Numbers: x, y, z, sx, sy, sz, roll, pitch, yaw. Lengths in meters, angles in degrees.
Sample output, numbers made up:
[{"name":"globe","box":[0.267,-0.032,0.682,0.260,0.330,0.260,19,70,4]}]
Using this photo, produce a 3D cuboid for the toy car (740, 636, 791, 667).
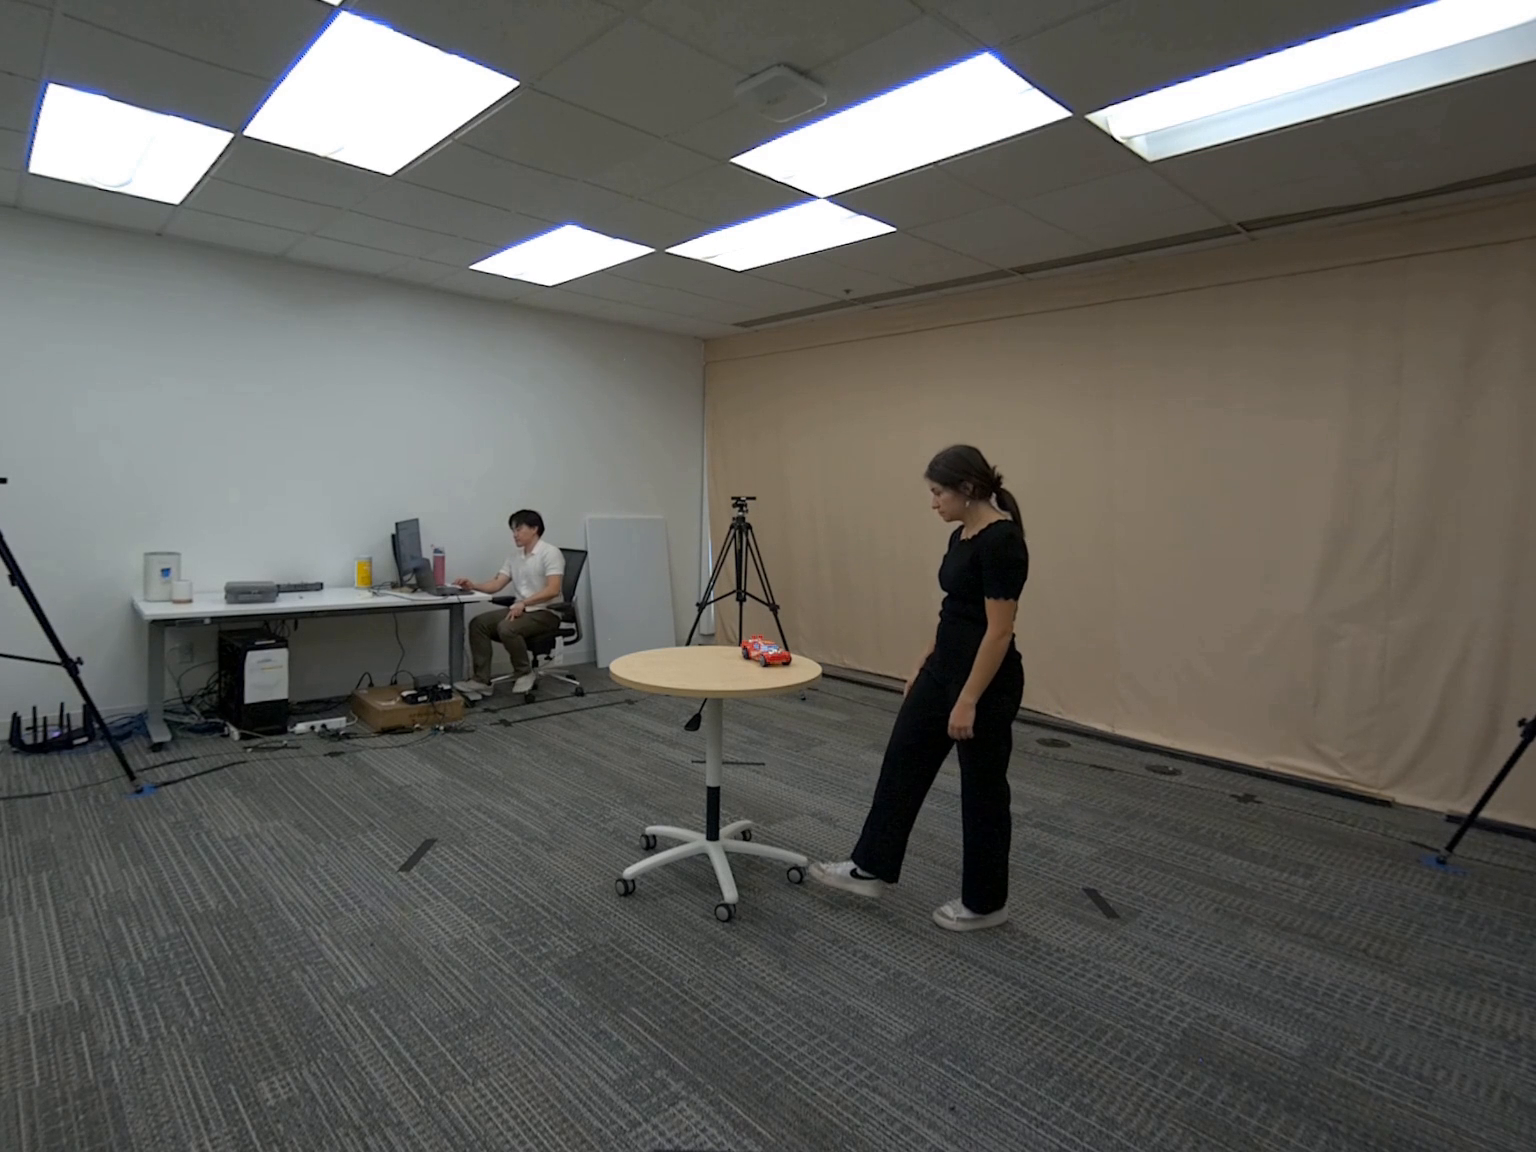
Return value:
[{"name":"toy car","box":[-0.025,0.284,3.151,0.128,0.082,0.261,0,17,-24]}]
